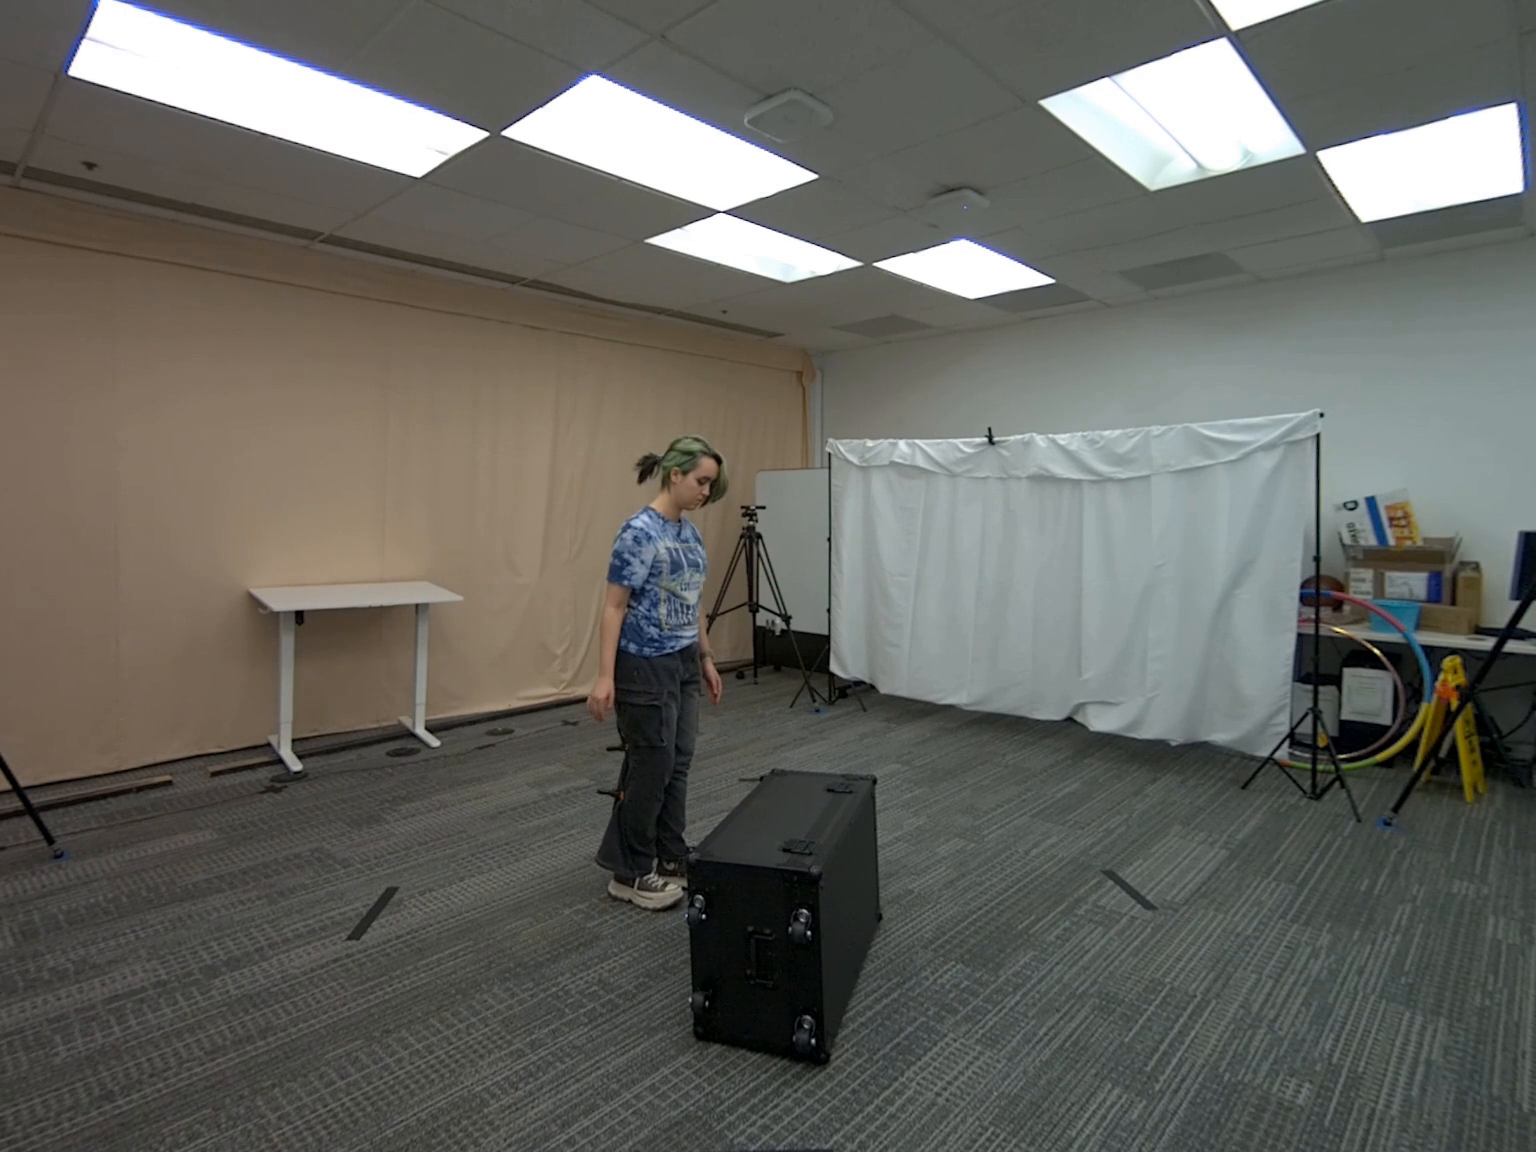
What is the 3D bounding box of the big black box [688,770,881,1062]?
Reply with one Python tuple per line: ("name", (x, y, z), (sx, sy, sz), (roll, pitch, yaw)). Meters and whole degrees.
("big black box", (0.059, 0.931, 2.460), (0.404, 0.520, 0.845), (-2, 3, 19))
